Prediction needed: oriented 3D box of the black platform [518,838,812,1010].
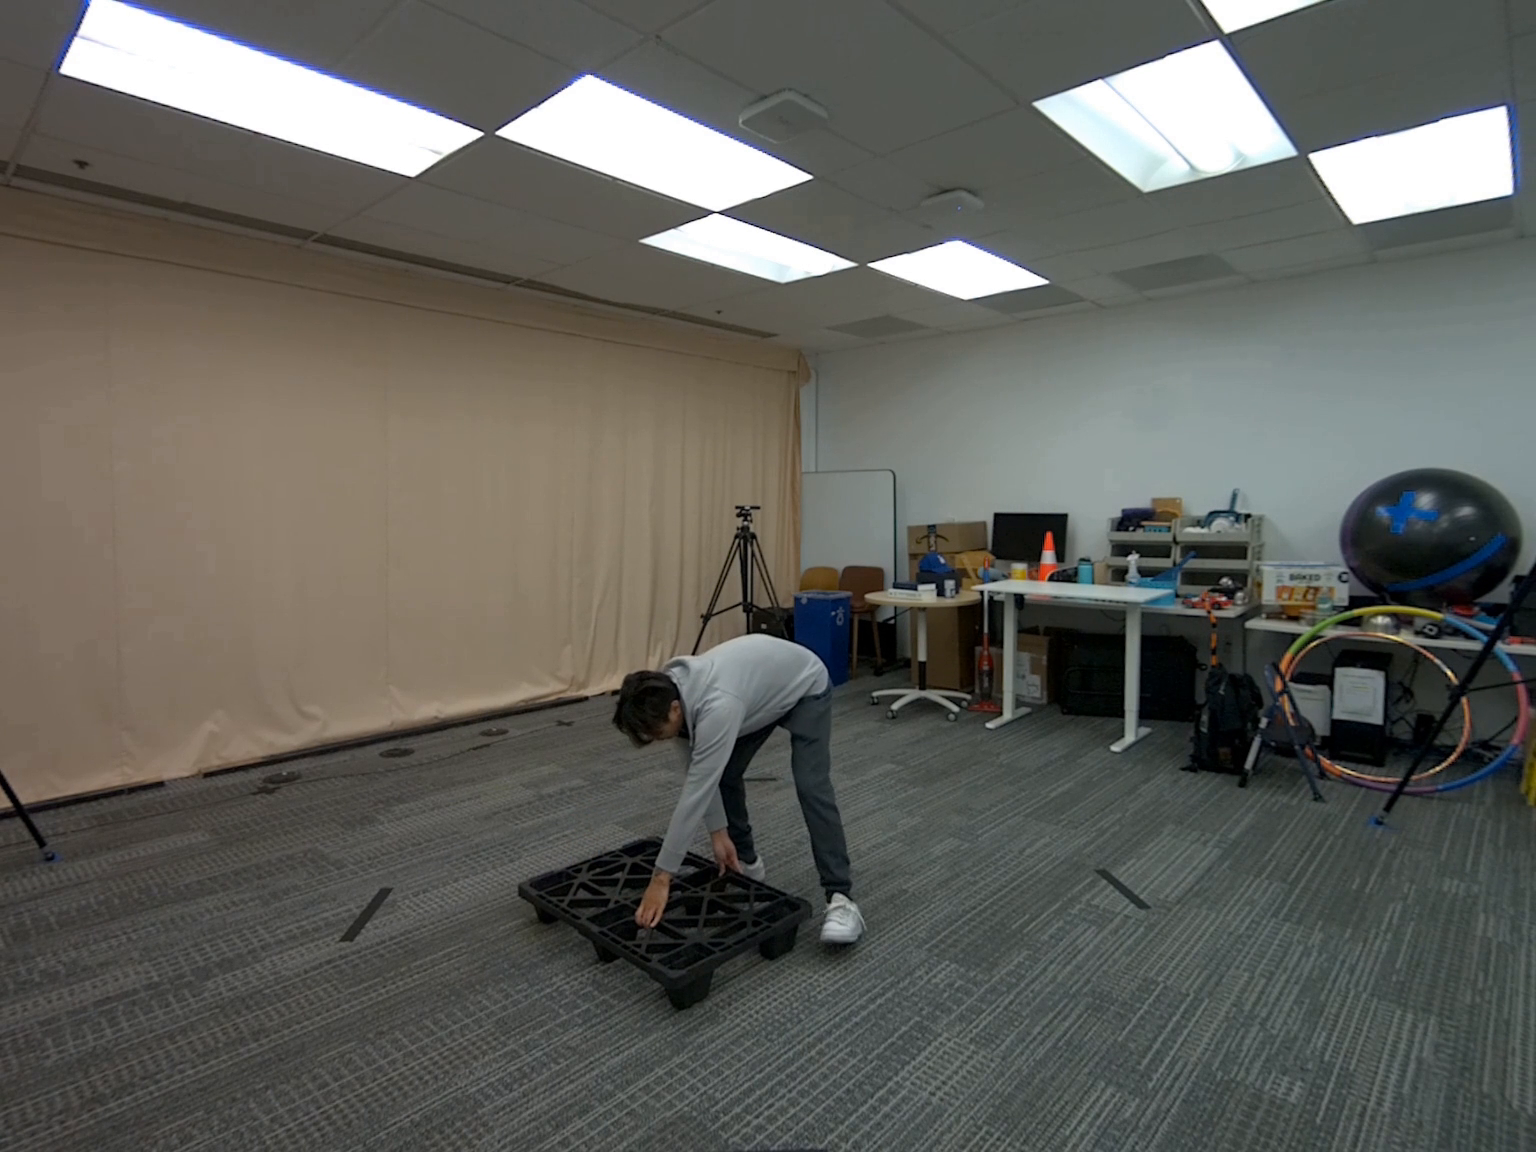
[{"bbox_3d":[-0.351,1.101,2.731,0.832,0.143,0.587,4,7,44],"label":"black platform"}]
